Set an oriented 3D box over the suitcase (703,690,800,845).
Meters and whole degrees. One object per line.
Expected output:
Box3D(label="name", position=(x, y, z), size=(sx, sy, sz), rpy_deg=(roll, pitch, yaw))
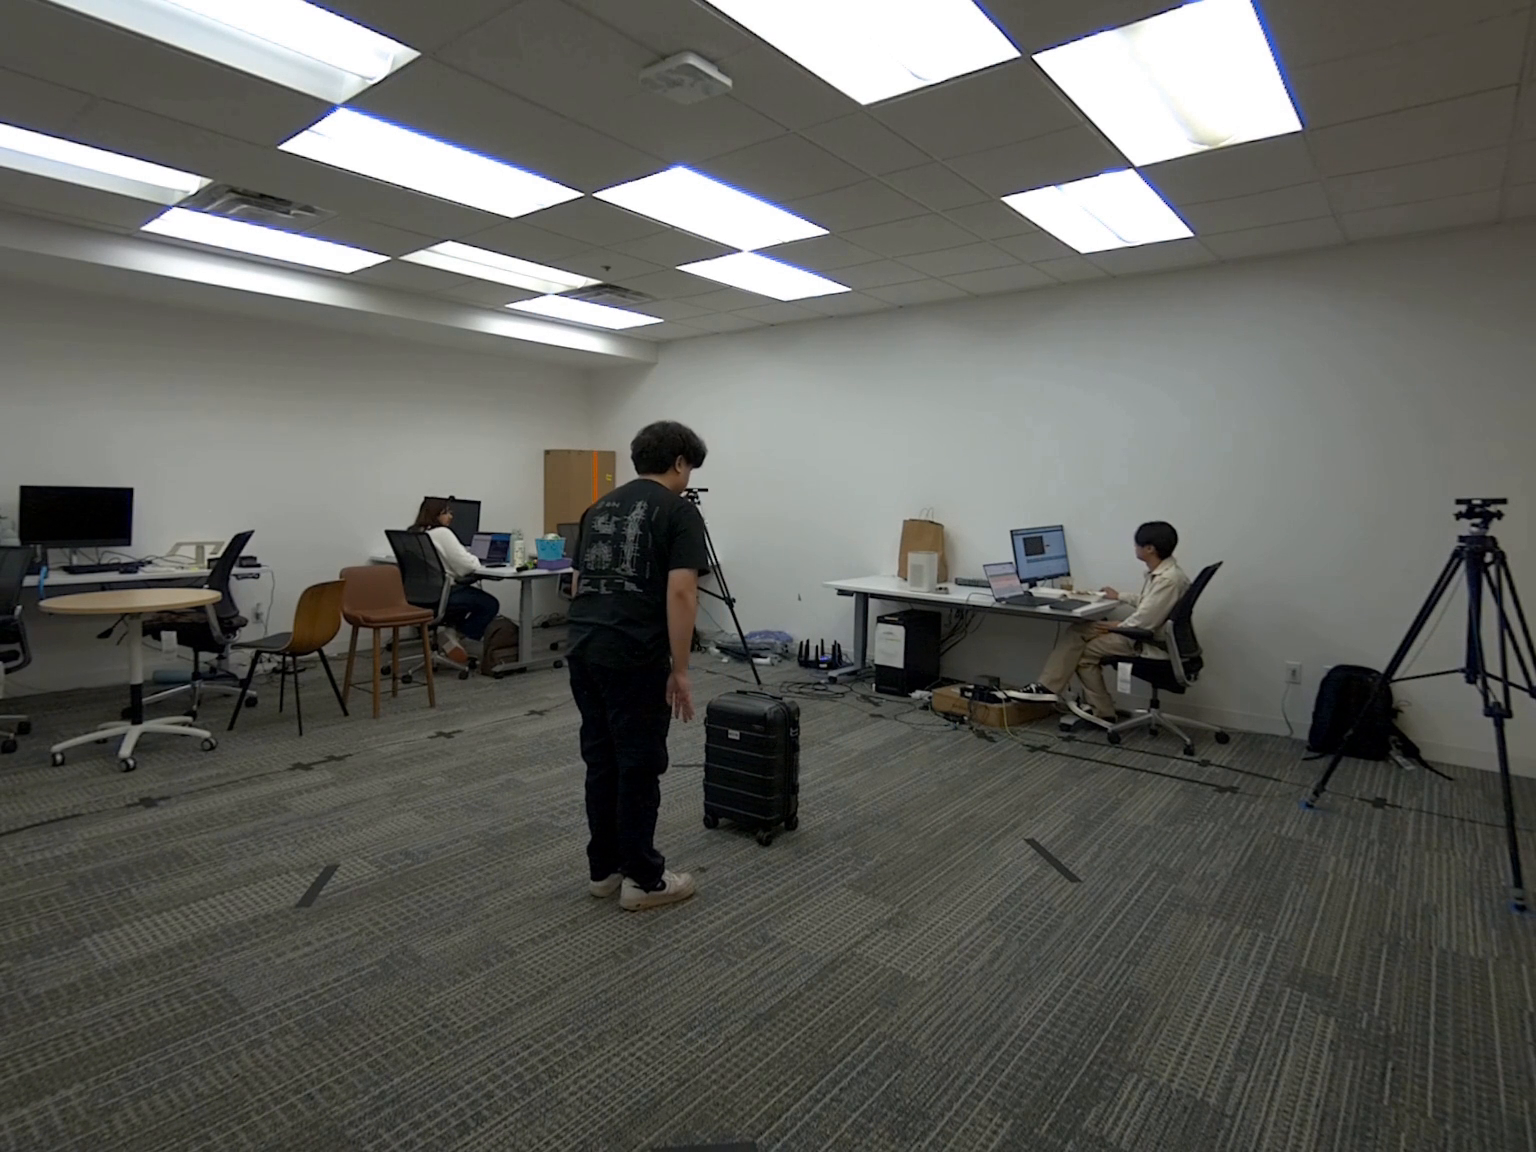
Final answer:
Box3D(label="suitcase", position=(-0.072, 0.757, 3.505), size=(0.387, 0.548, 0.241), rpy_deg=(4, 3, 32))
